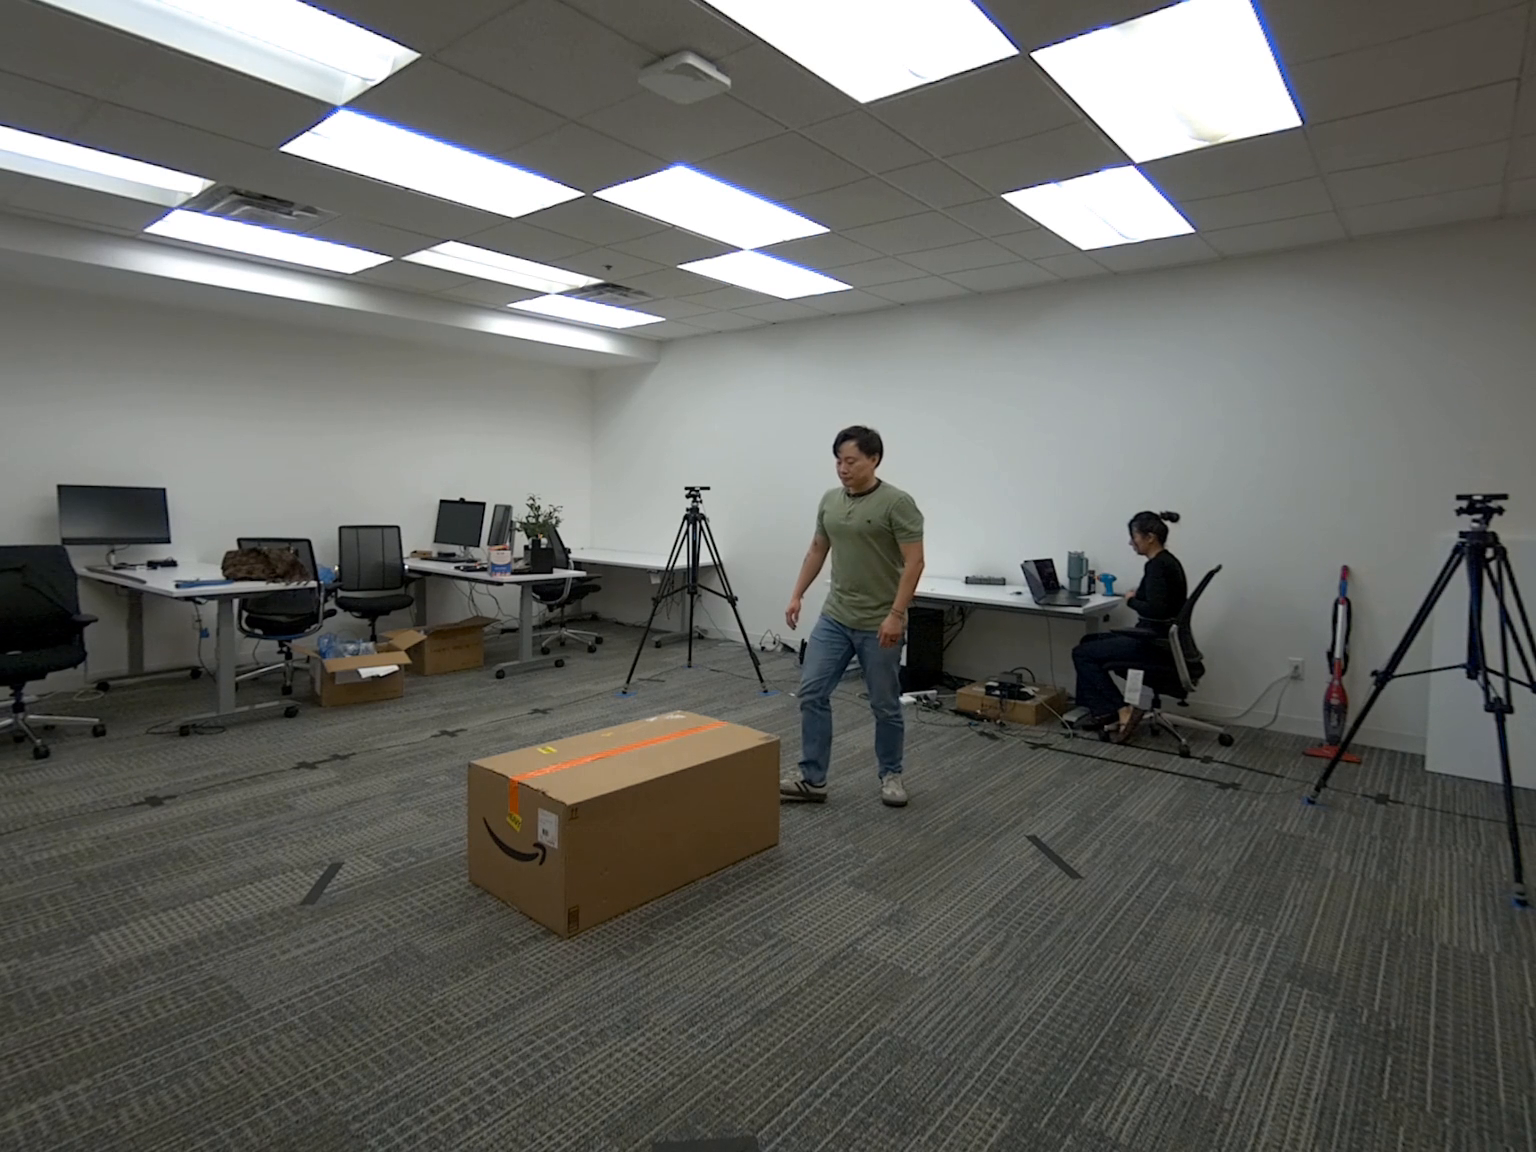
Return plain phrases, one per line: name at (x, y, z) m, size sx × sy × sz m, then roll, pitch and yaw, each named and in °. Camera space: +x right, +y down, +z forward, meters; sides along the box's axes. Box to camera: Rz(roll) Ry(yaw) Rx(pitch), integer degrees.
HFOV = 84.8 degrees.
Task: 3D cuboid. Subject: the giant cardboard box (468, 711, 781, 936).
giant cardboard box at (-0.512, 0.845, 3.144) m, size 0.597 × 0.425 × 0.996 m, roll 4°, pitch 6°, yaw 42°
